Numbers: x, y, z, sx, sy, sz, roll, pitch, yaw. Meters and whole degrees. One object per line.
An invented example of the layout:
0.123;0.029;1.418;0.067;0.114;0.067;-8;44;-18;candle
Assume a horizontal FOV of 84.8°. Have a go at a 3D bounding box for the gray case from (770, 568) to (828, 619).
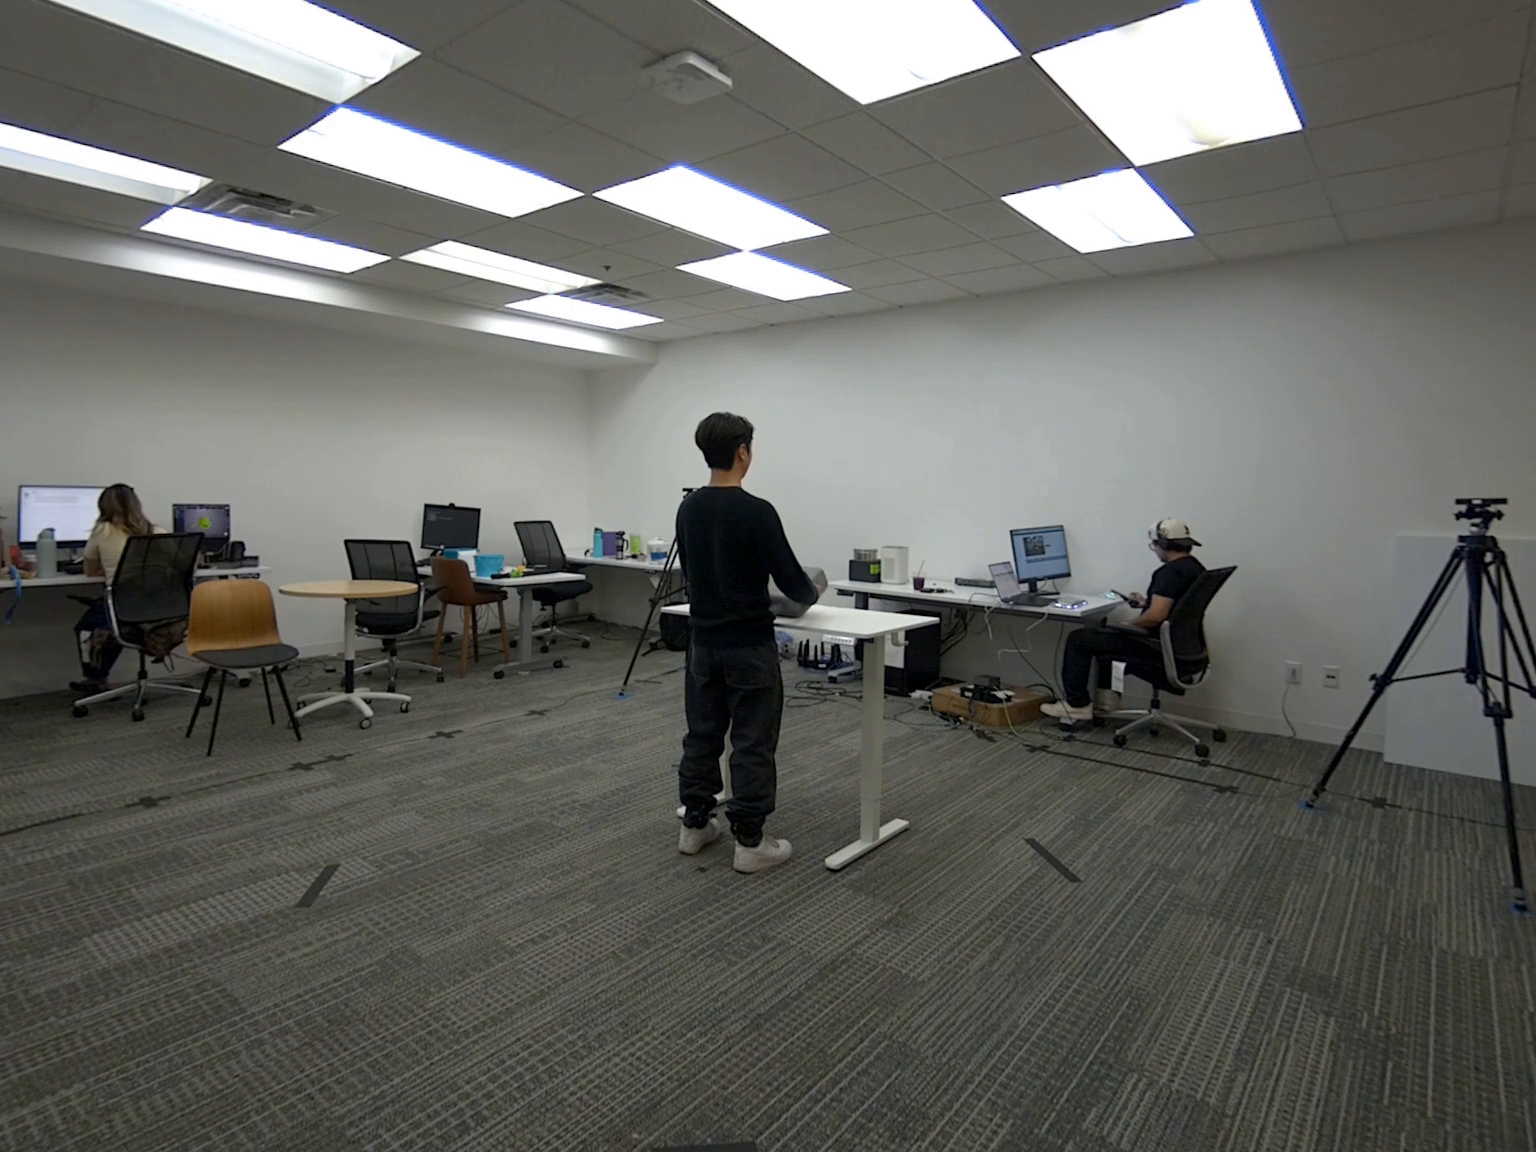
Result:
0.072;0.060;3.504;0.265;0.102;0.259;4;31;38;gray case
